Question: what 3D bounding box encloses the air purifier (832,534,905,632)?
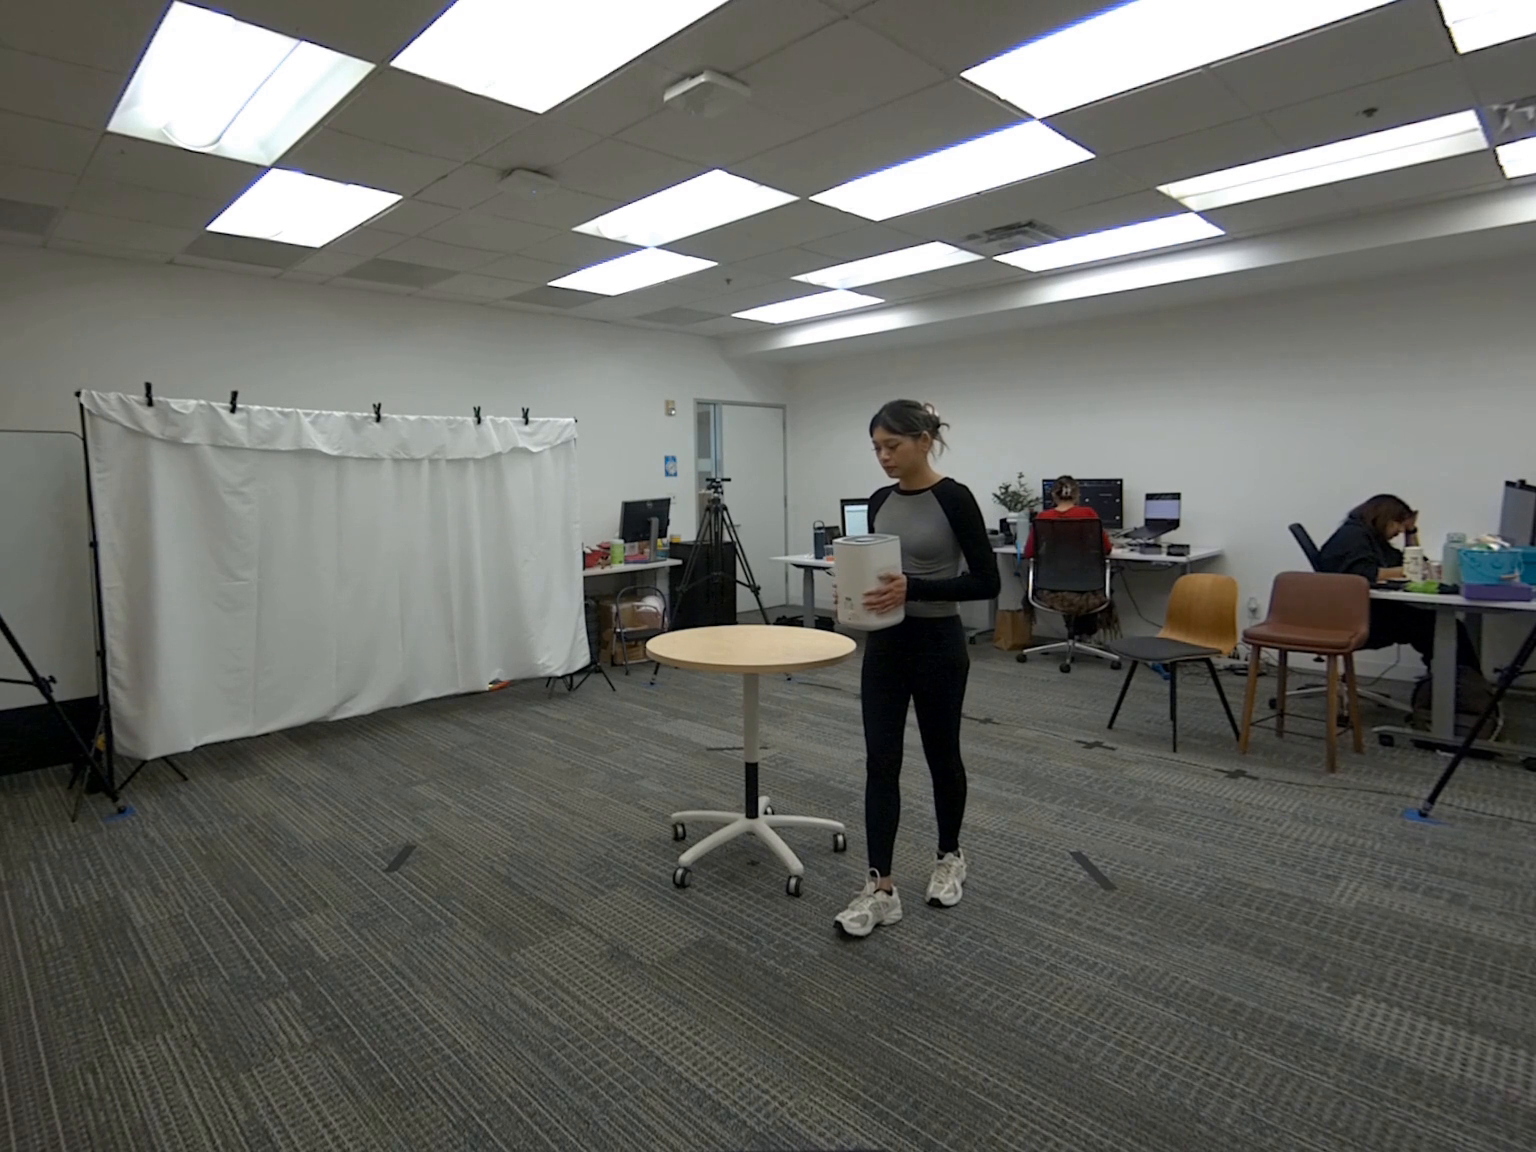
[{"bbox_3d":[0.306,0.014,2.582,0.168,0.263,0.176,-11,12,-37],"label":"air purifier"}]
